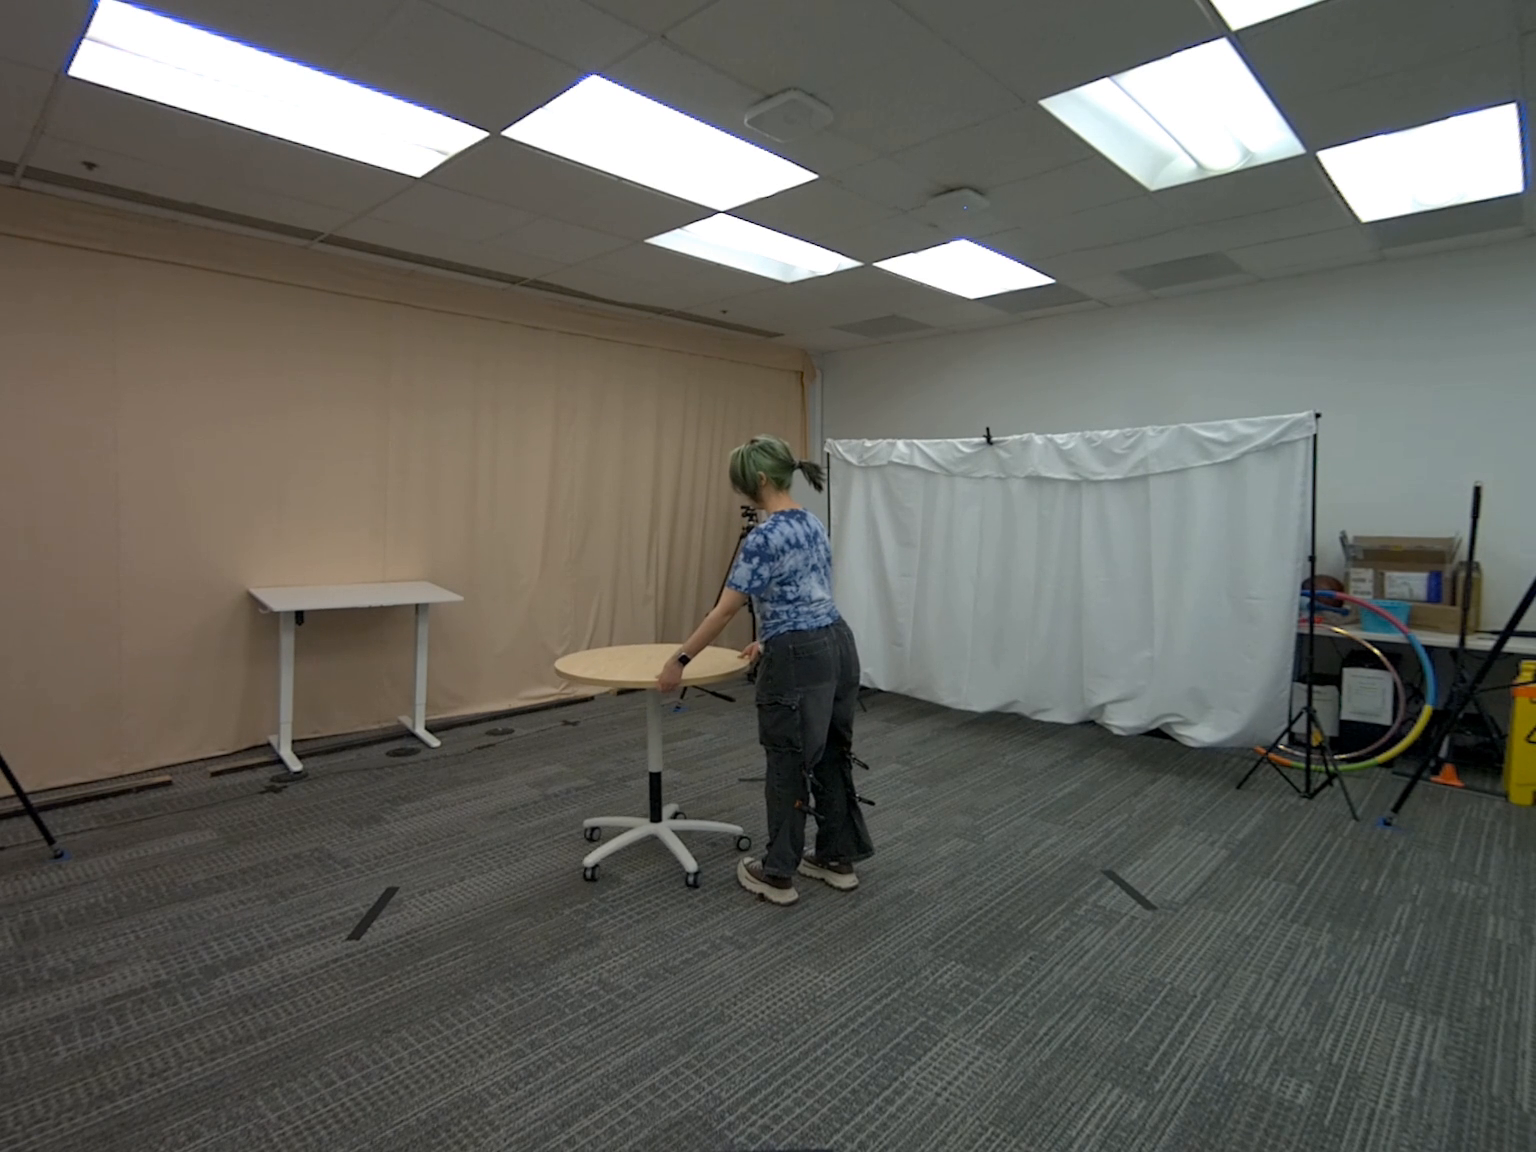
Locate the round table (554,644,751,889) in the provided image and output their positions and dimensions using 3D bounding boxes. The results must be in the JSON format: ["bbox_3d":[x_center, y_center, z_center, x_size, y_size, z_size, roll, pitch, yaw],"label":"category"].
[{"bbox_3d":[-0.444,0.726,3.338,0.763,0.792,0.767,-1,4,-2],"label":"round table"}]
